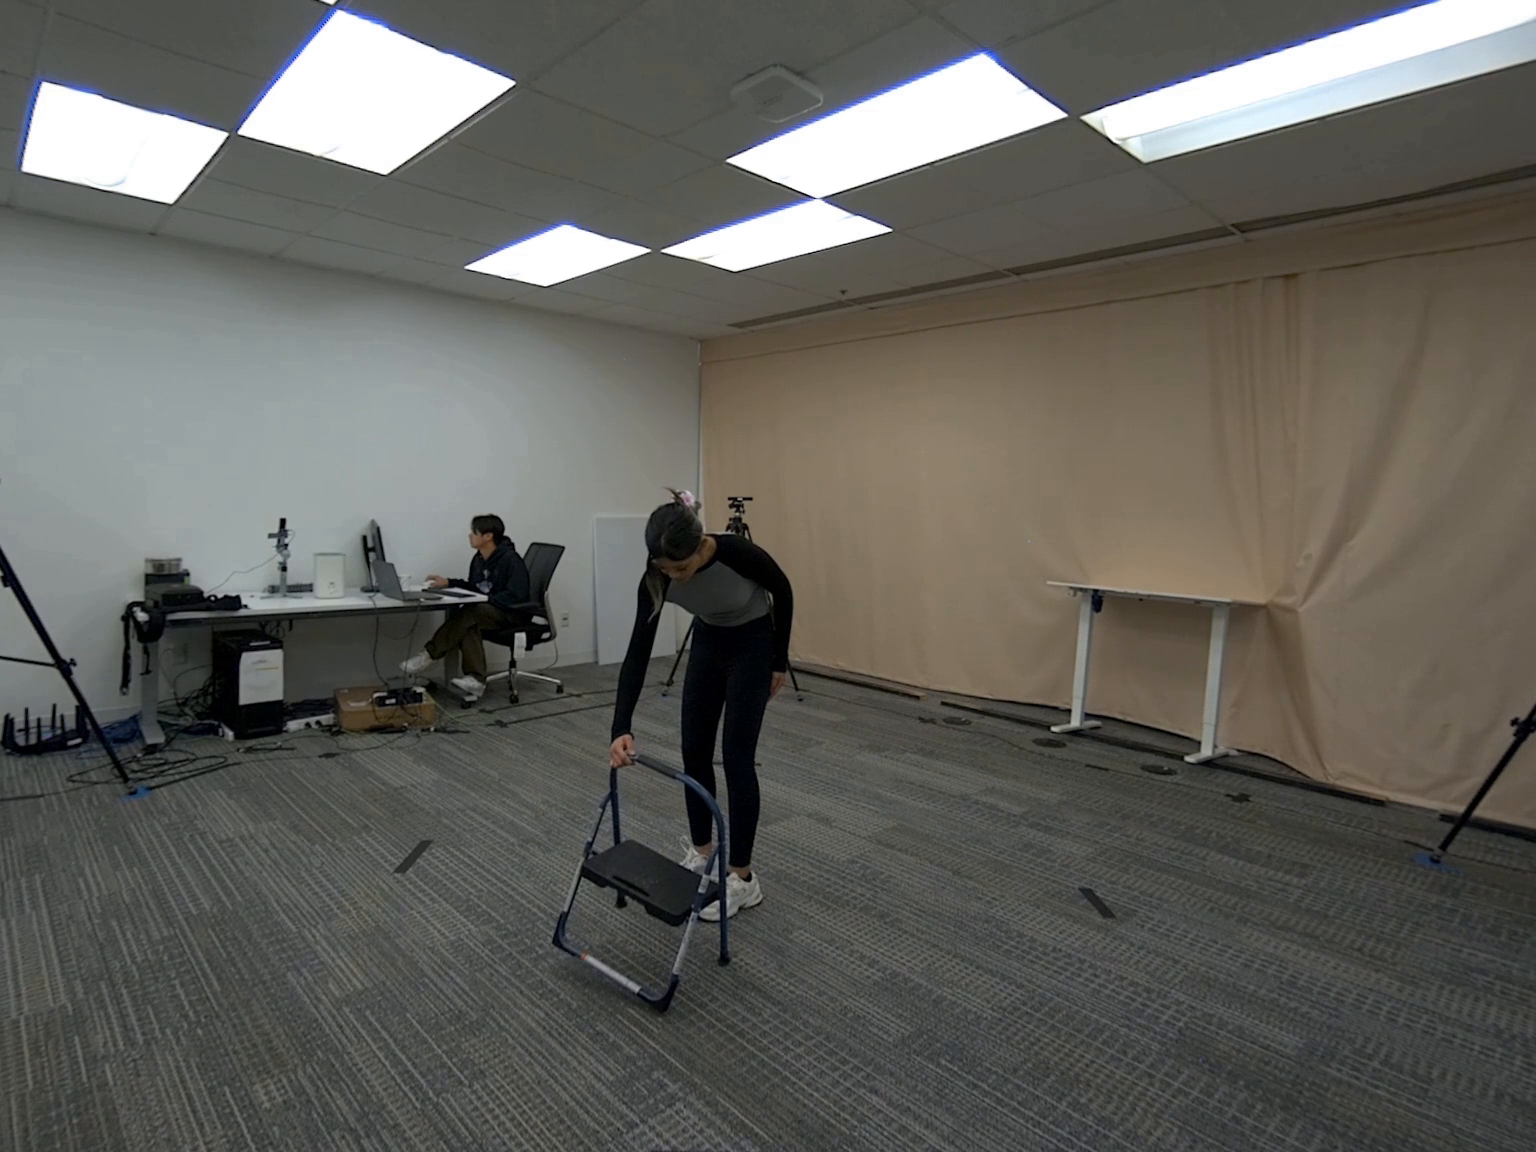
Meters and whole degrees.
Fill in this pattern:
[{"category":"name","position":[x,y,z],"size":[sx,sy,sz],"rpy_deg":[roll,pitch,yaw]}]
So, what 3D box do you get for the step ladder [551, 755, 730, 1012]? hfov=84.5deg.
[{"category":"step ladder","position":[-0.329,0.826,2.452],"size":[0.441,0.603,0.342],"rpy_deg":[15,8,29]}]
